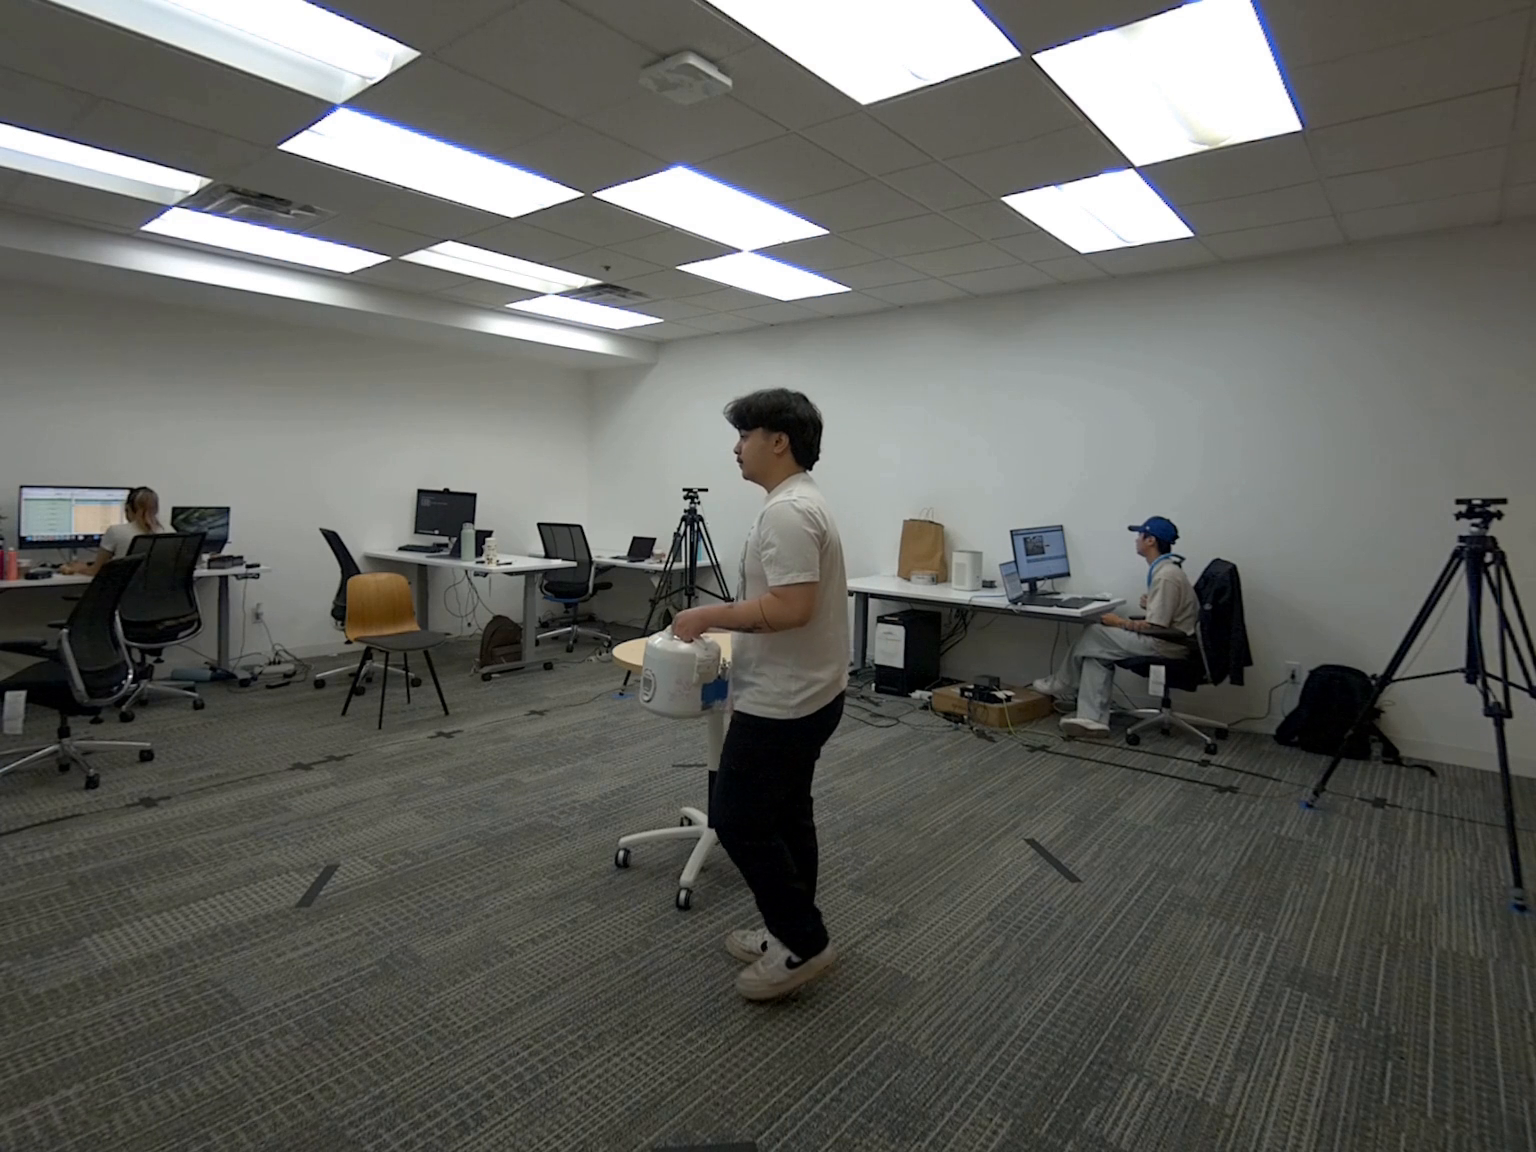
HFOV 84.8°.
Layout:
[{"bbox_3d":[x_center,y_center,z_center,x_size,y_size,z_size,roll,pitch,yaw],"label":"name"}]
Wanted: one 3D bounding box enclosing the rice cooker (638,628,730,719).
[{"bbox_3d":[-0.246,0.258,2.316,0.210,0.232,0.229,2,7,-42],"label":"rice cooker"}]
